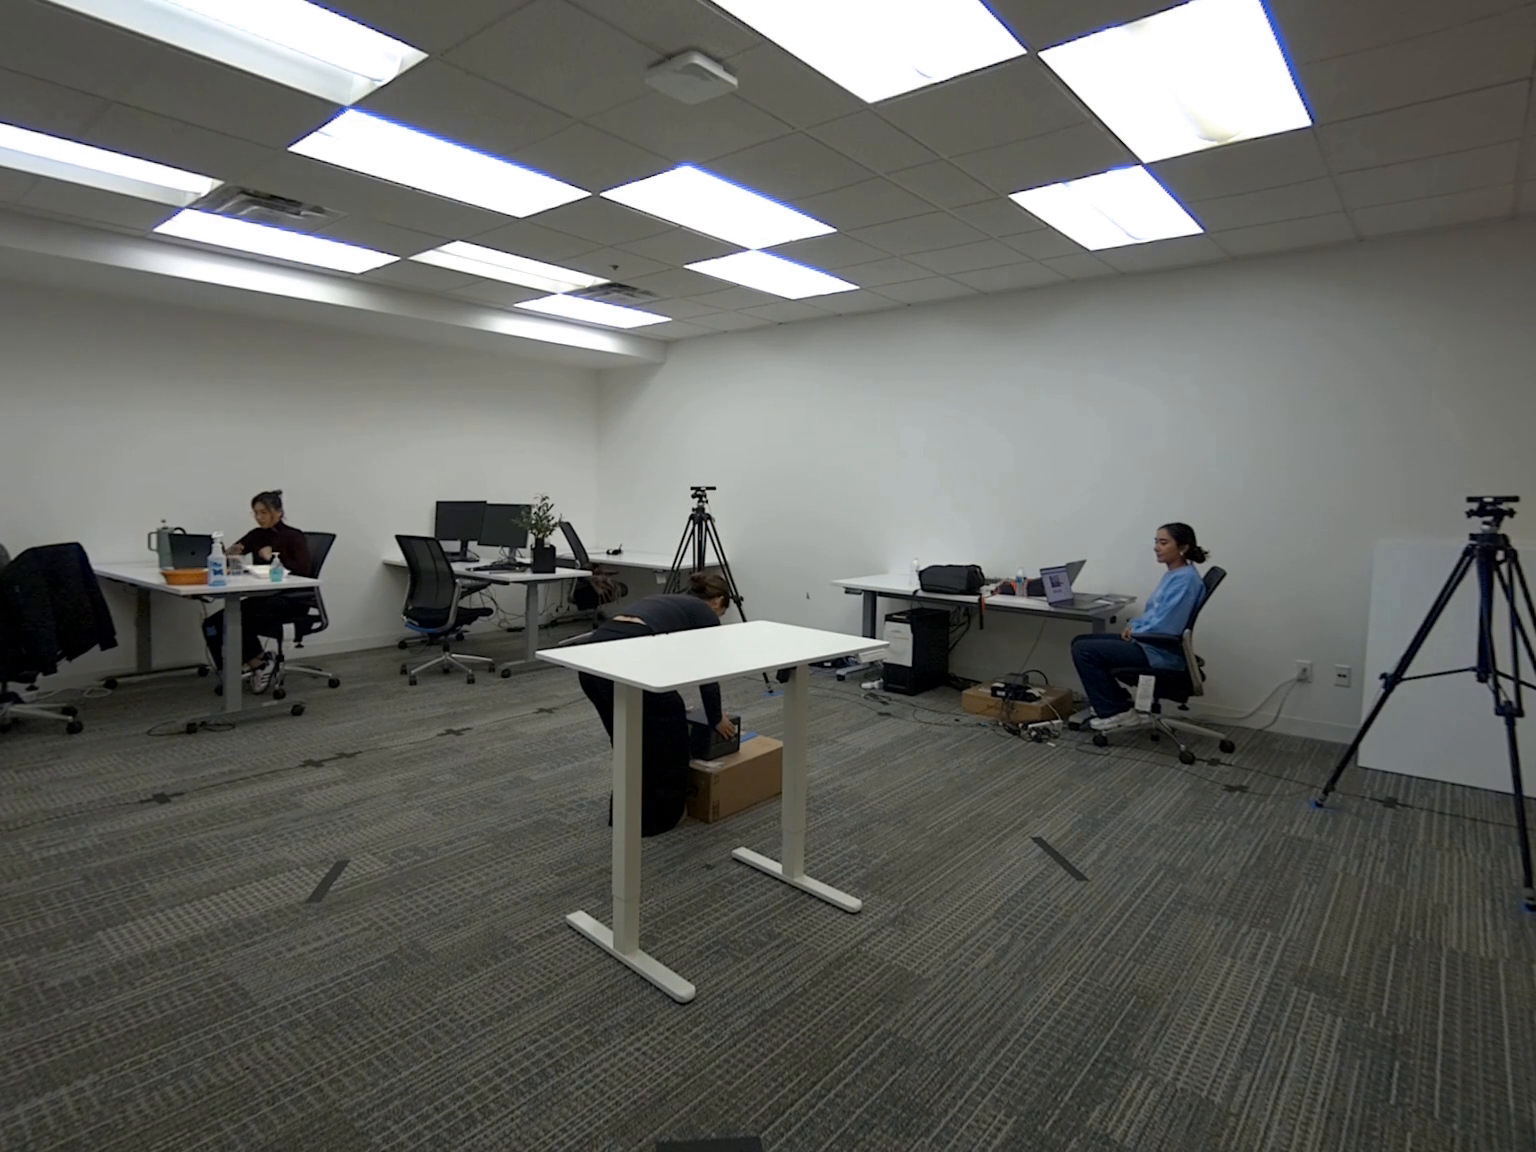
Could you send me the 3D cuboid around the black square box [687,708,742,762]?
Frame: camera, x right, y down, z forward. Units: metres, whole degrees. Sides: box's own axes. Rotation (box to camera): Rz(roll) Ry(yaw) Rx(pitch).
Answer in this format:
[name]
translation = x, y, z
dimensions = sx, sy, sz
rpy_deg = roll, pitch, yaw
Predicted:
[black square box]
translation = -0.290, 0.699, 3.813
dimensions = 0.235, 0.155, 0.210
rpy_deg = 4, 4, 38
